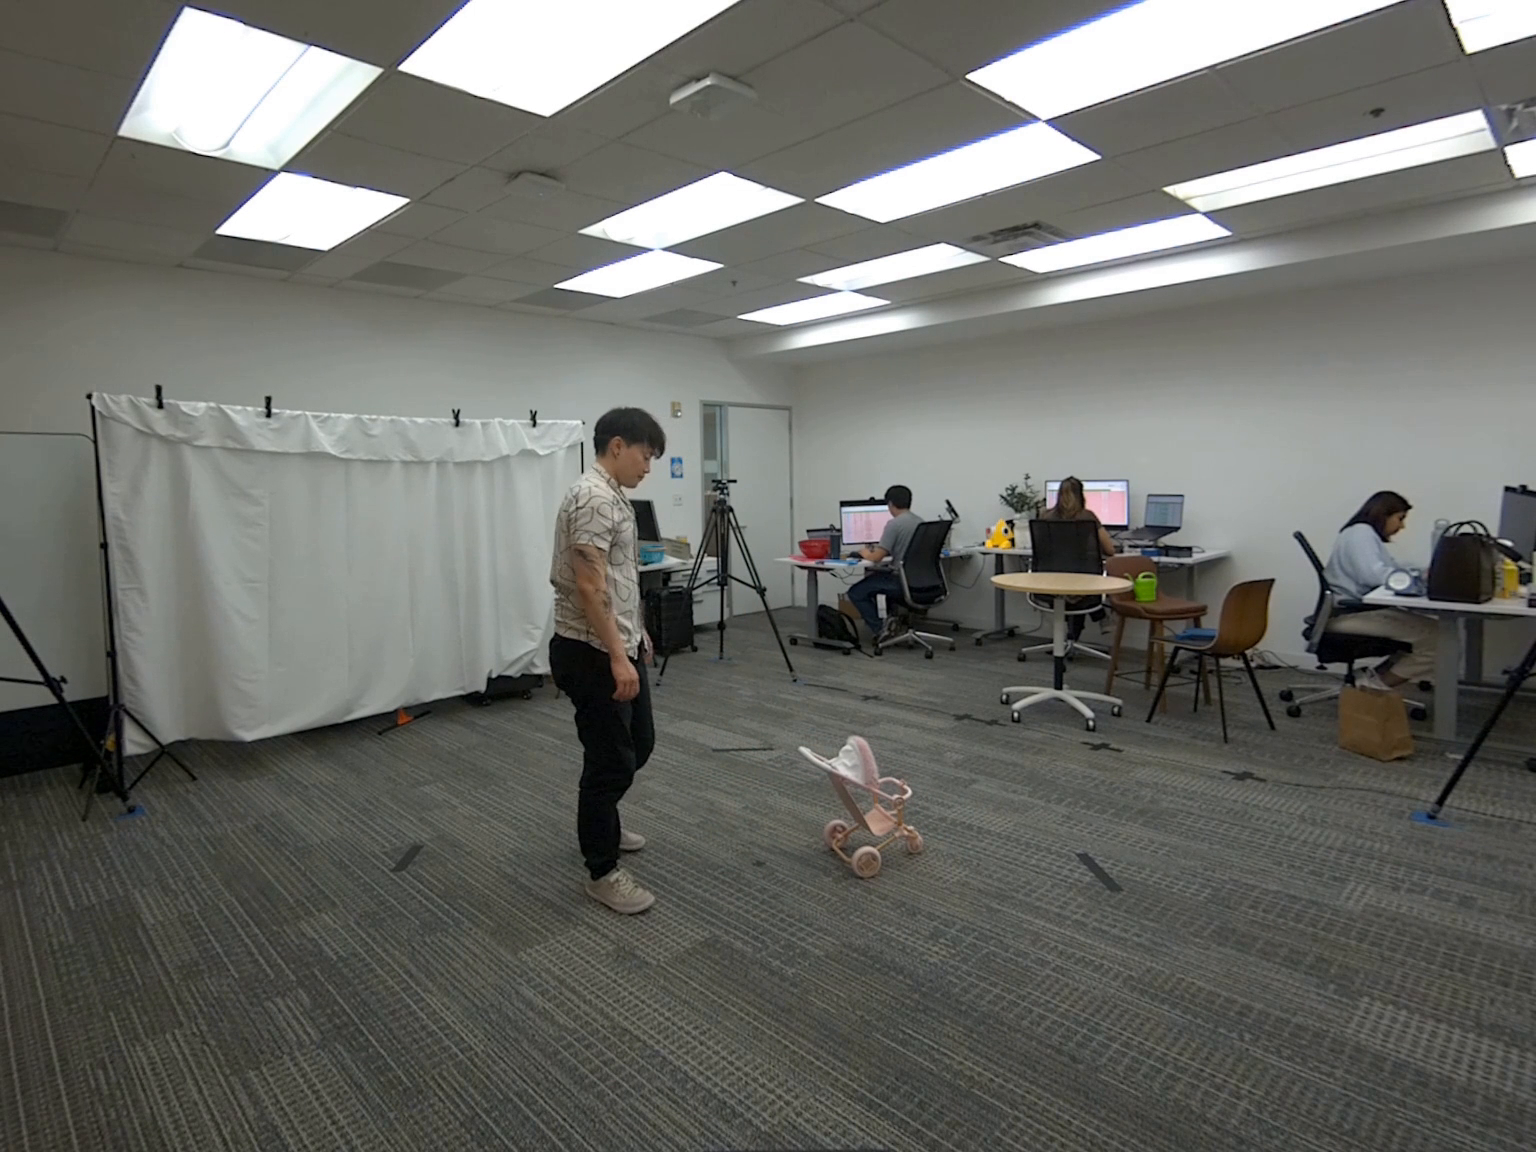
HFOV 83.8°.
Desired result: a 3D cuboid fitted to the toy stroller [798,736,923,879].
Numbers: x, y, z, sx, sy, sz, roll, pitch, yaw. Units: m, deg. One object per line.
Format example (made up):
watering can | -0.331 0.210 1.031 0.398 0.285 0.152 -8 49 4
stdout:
toy stroller | 0.356 0.816 3.109 0.339 0.530 0.286 -20 8 -11
